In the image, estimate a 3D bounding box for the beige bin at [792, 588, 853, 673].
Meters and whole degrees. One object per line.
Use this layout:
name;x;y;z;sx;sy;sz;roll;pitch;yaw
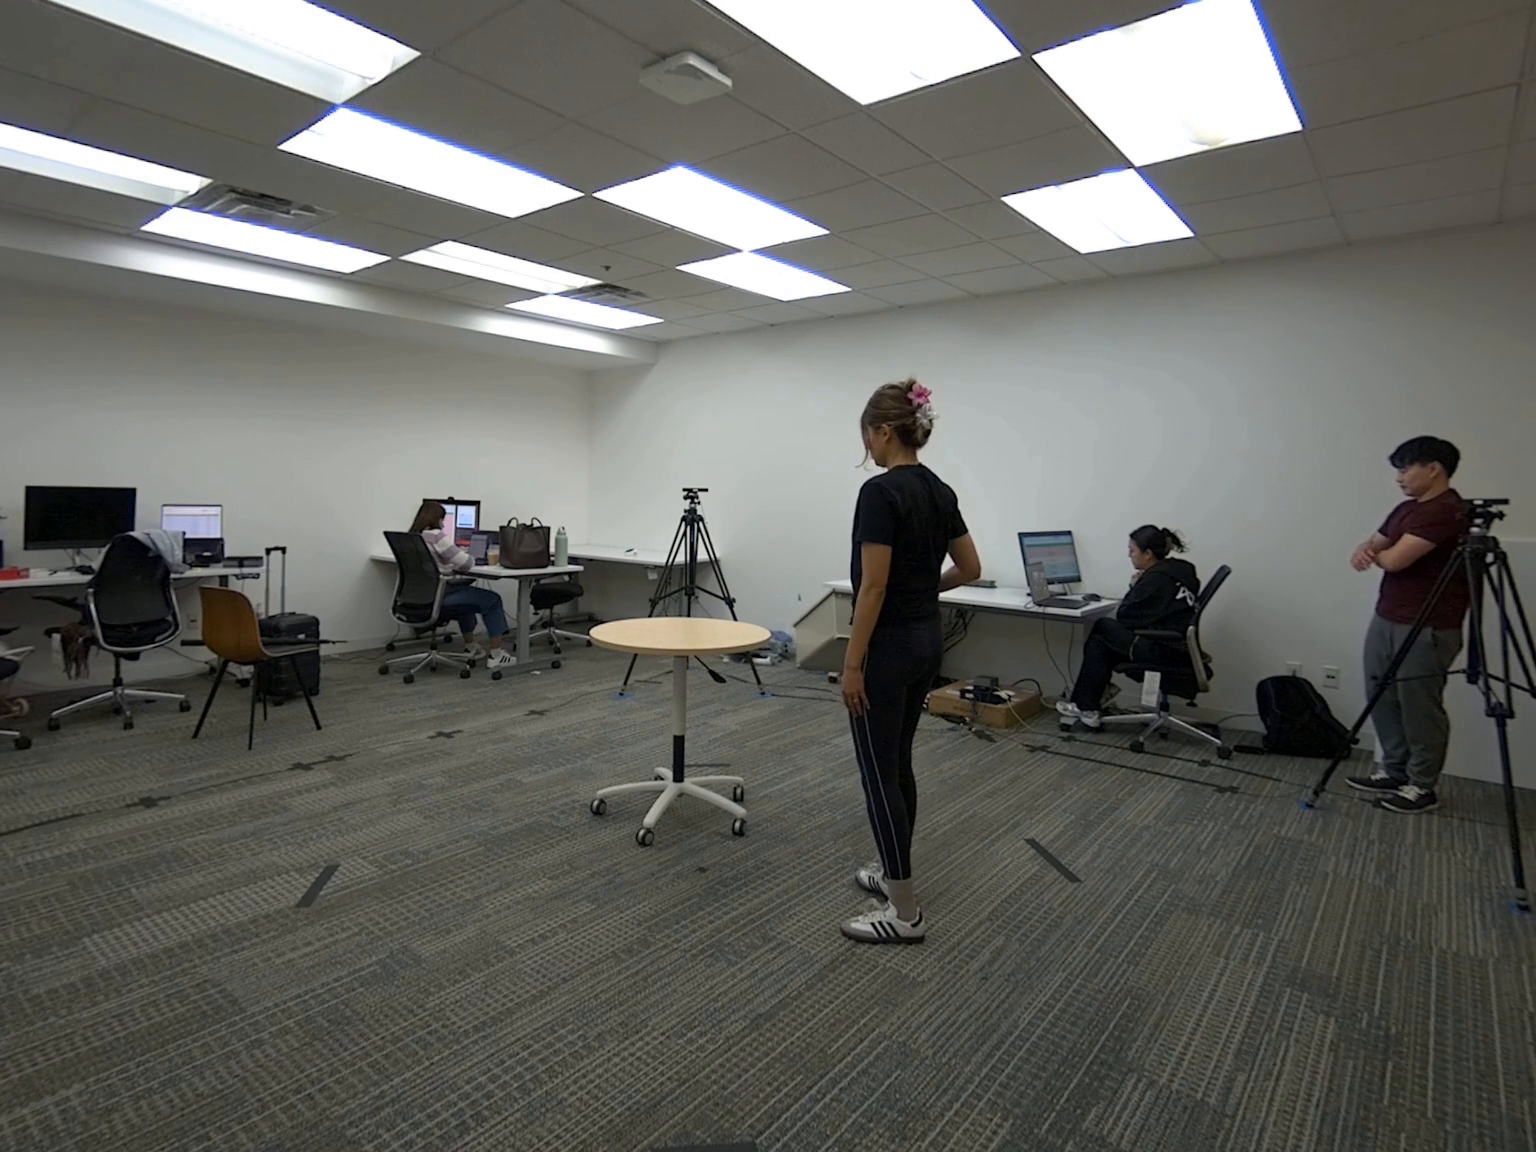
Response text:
beige bin;0.322;0.212;3.191;0.370;0.193;0.421;5;-23;-17
